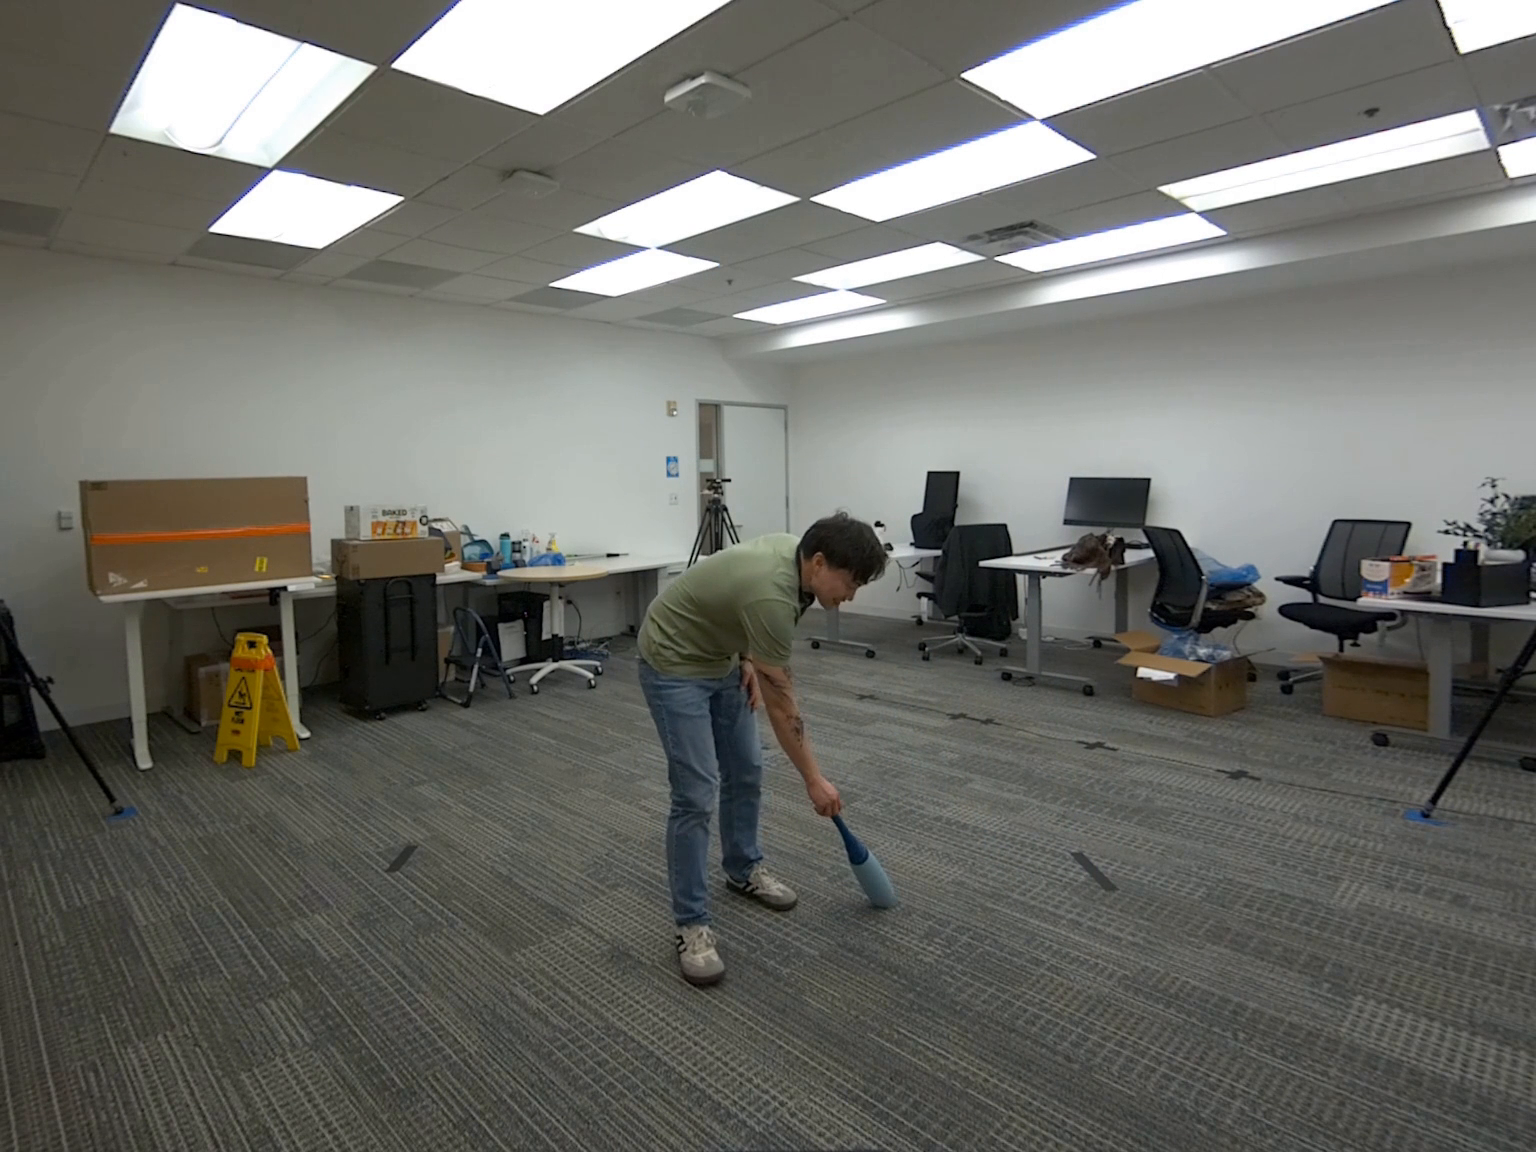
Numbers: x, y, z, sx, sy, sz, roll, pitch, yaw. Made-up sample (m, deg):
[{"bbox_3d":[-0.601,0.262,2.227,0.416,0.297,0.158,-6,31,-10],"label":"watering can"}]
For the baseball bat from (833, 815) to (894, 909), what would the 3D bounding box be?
[{"bbox_3d":[0.270,0.852,2.655,0.090,0.525,0.091,-20,33,13],"label":"baseball bat"}]
